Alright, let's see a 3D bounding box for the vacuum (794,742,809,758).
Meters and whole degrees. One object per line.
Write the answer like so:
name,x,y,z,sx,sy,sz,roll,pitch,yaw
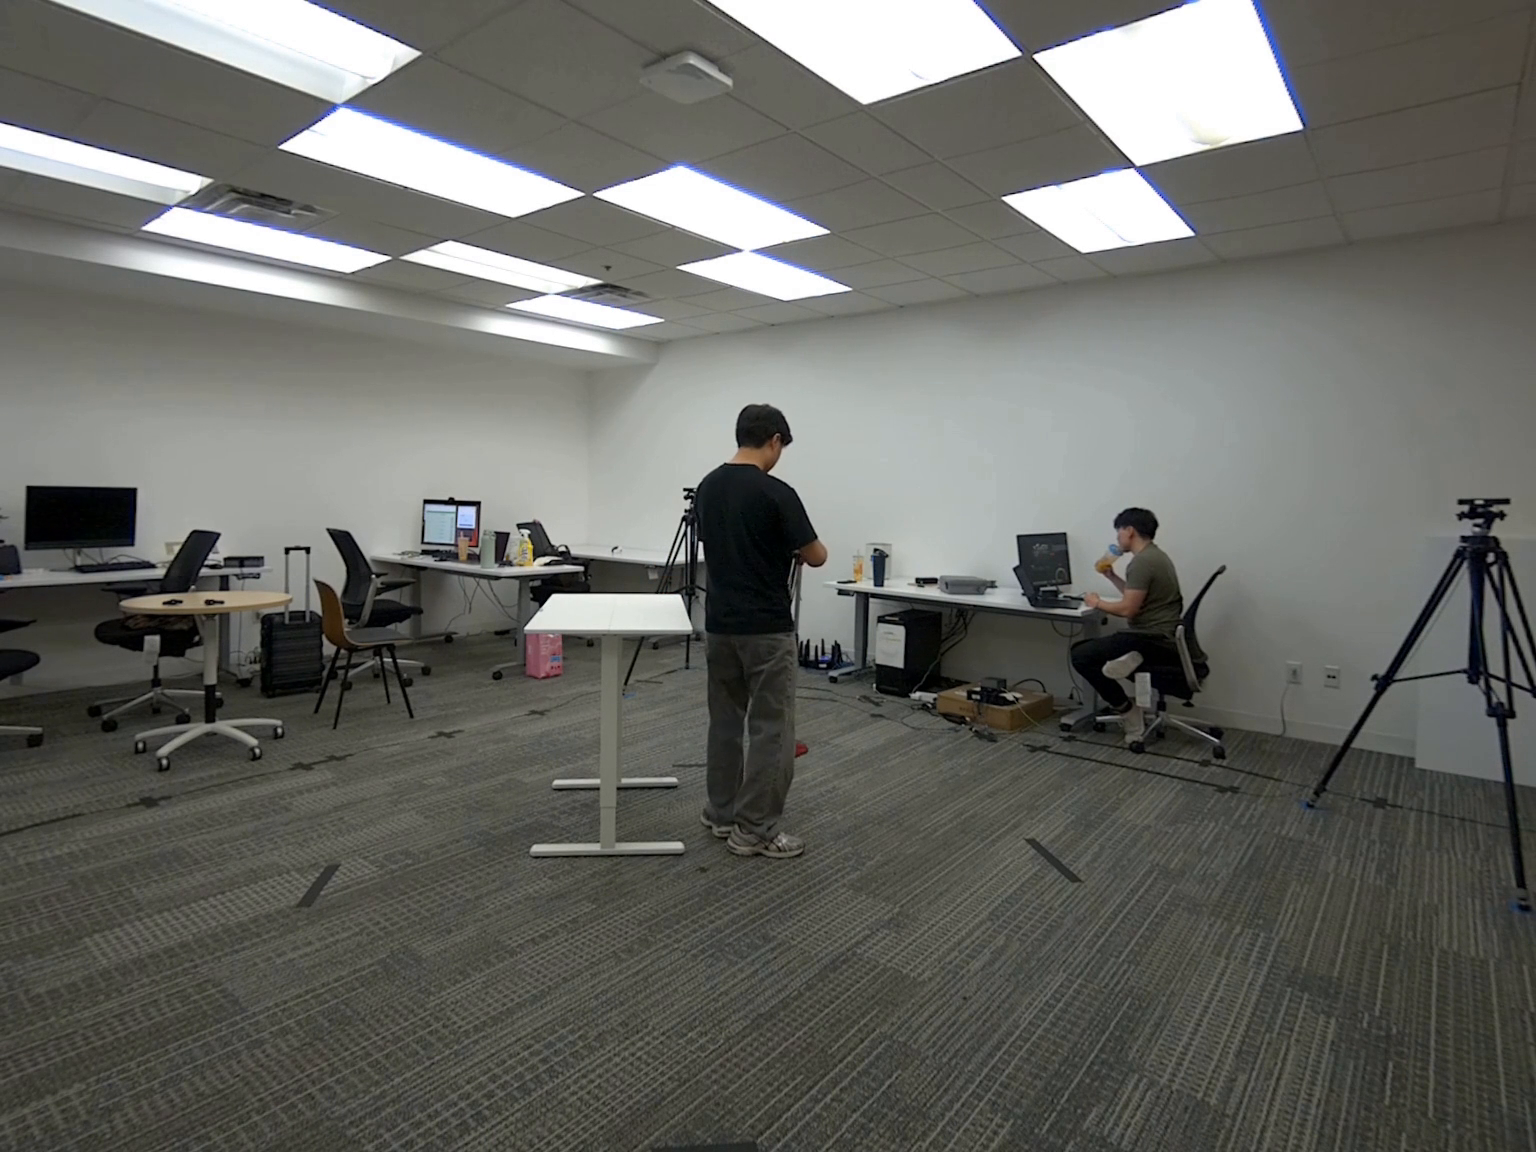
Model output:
vacuum,0.079,0.243,3.670,0.149,1.043,0.246,6,8,36
